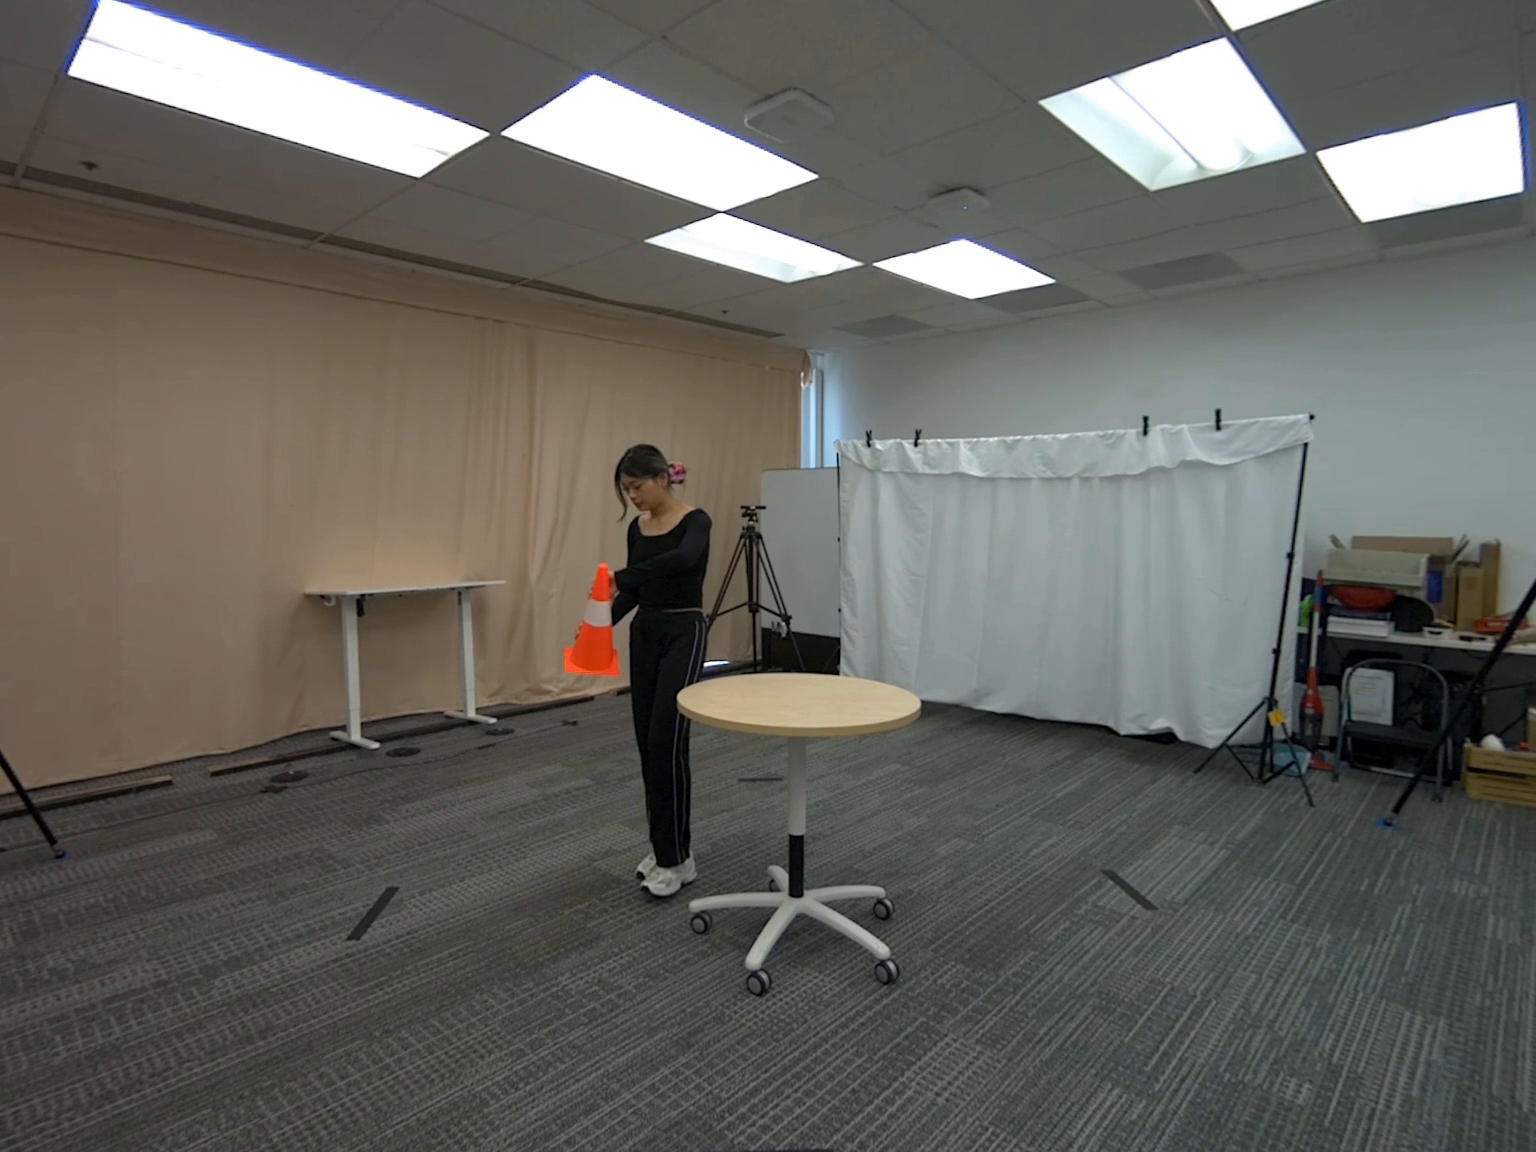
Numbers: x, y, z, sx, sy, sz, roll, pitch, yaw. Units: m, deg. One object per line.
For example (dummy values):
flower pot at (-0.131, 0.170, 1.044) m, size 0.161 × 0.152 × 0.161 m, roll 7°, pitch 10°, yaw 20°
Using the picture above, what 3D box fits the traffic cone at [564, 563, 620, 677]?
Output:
traffic cone at (-0.607, 0.139, 3.008) m, size 0.203 × 0.381 × 0.207 m, roll 9°, pitch 20°, yaw -9°
